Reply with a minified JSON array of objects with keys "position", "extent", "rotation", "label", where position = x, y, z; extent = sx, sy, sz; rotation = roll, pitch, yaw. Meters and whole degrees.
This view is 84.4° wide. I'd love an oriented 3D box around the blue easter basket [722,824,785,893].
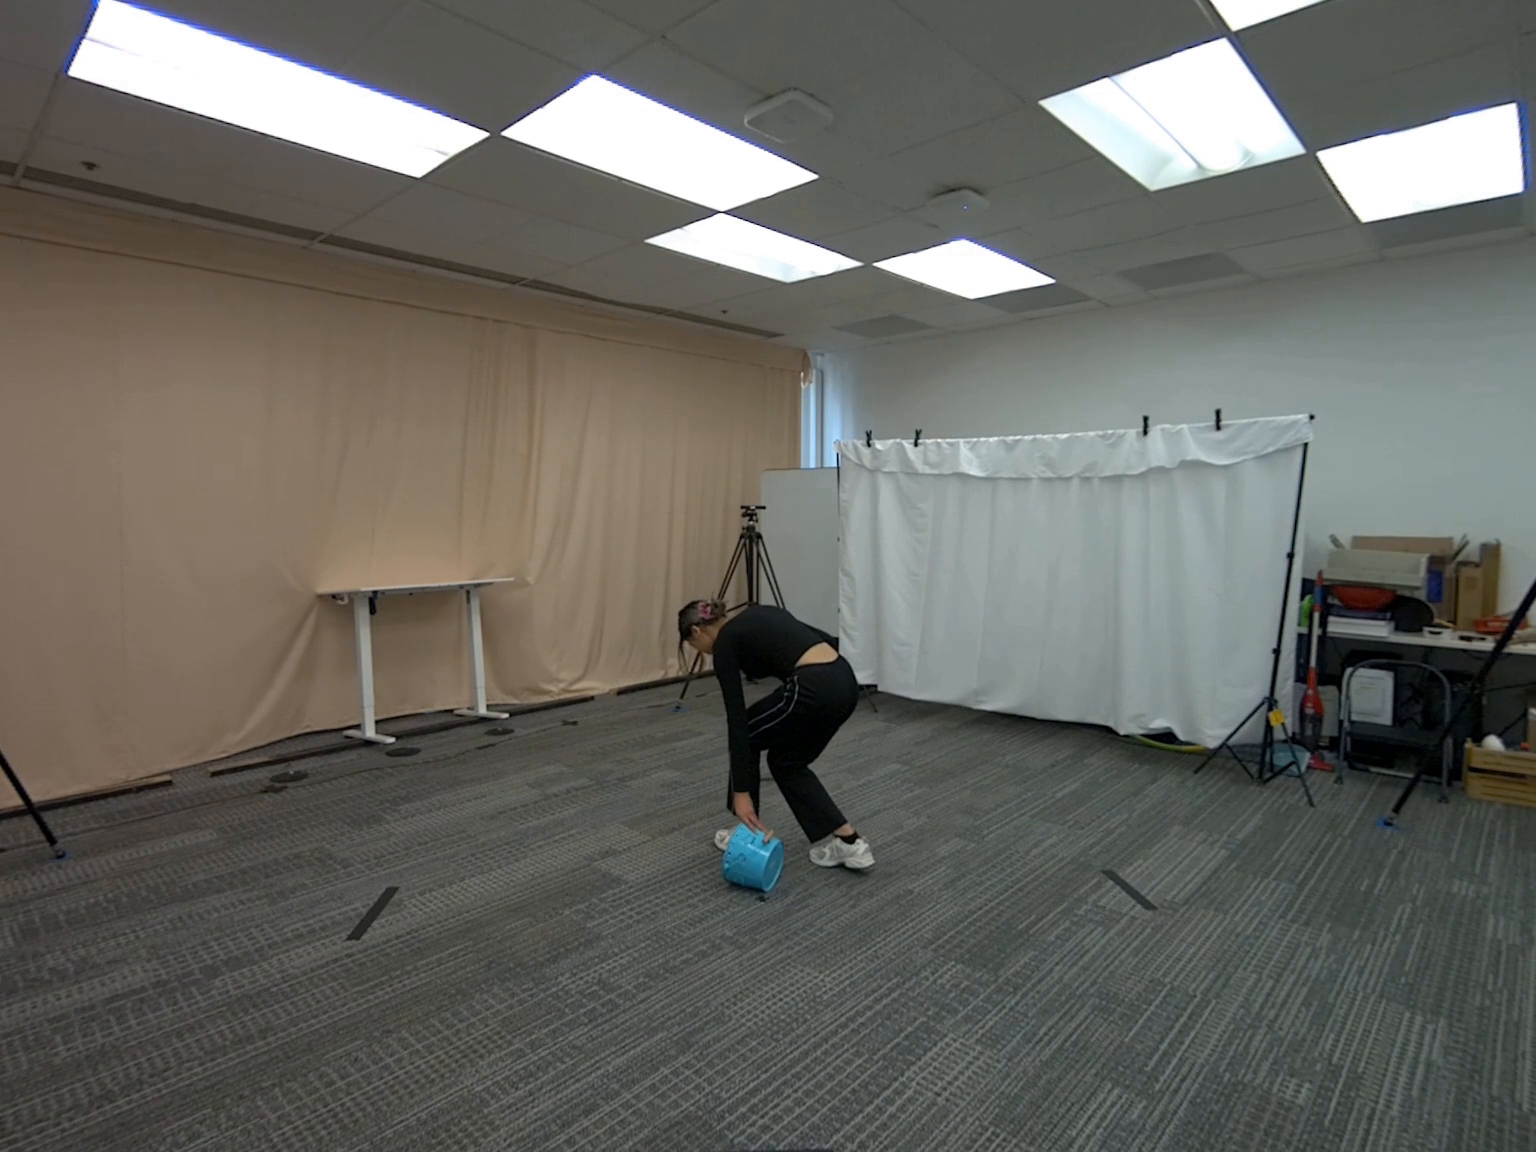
[{"position":[-0.056,1.024,3.080],"extent":[0.160,0.242,0.237],"rotation":[13,9,26],"label":"blue easter basket"}]
